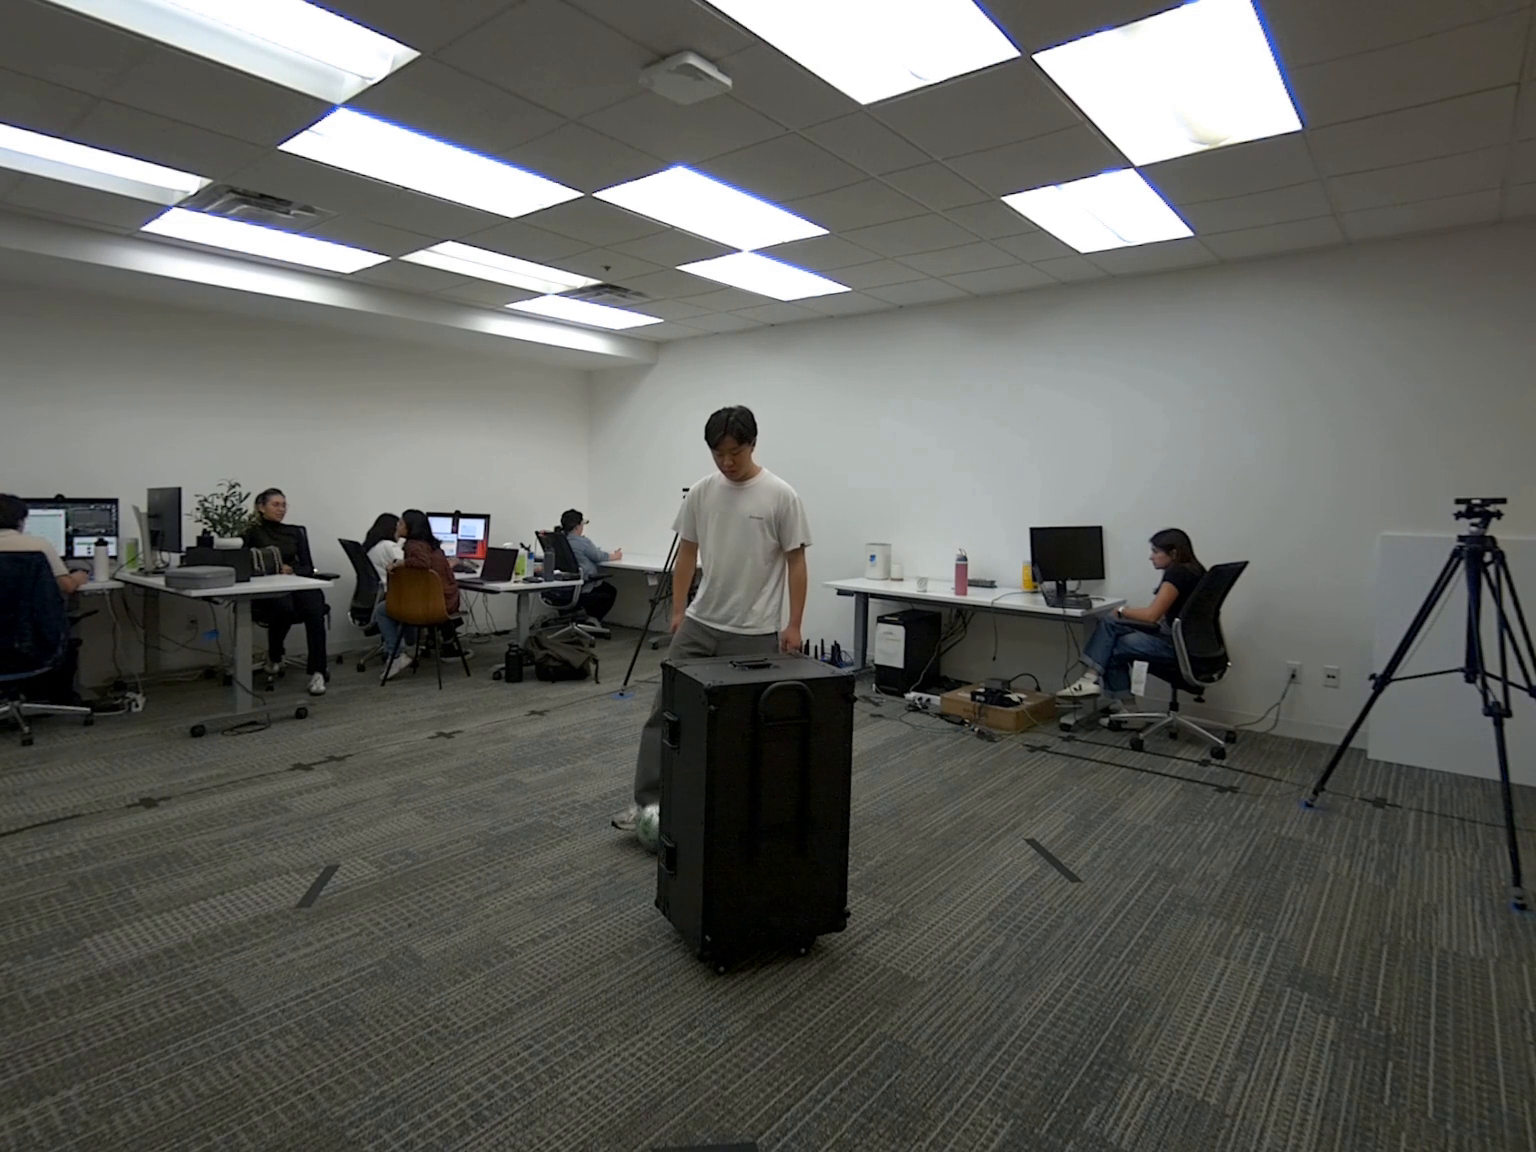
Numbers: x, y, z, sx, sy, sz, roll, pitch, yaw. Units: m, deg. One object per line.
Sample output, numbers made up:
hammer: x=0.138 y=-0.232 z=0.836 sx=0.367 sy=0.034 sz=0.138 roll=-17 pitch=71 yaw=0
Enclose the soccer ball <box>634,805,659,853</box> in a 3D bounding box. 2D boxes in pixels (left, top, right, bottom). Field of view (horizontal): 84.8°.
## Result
soccer ball: x=-0.385 y=0.945 z=3.255 sx=0.187 sy=0.187 sz=0.188 roll=1 pitch=4 yaw=-2
